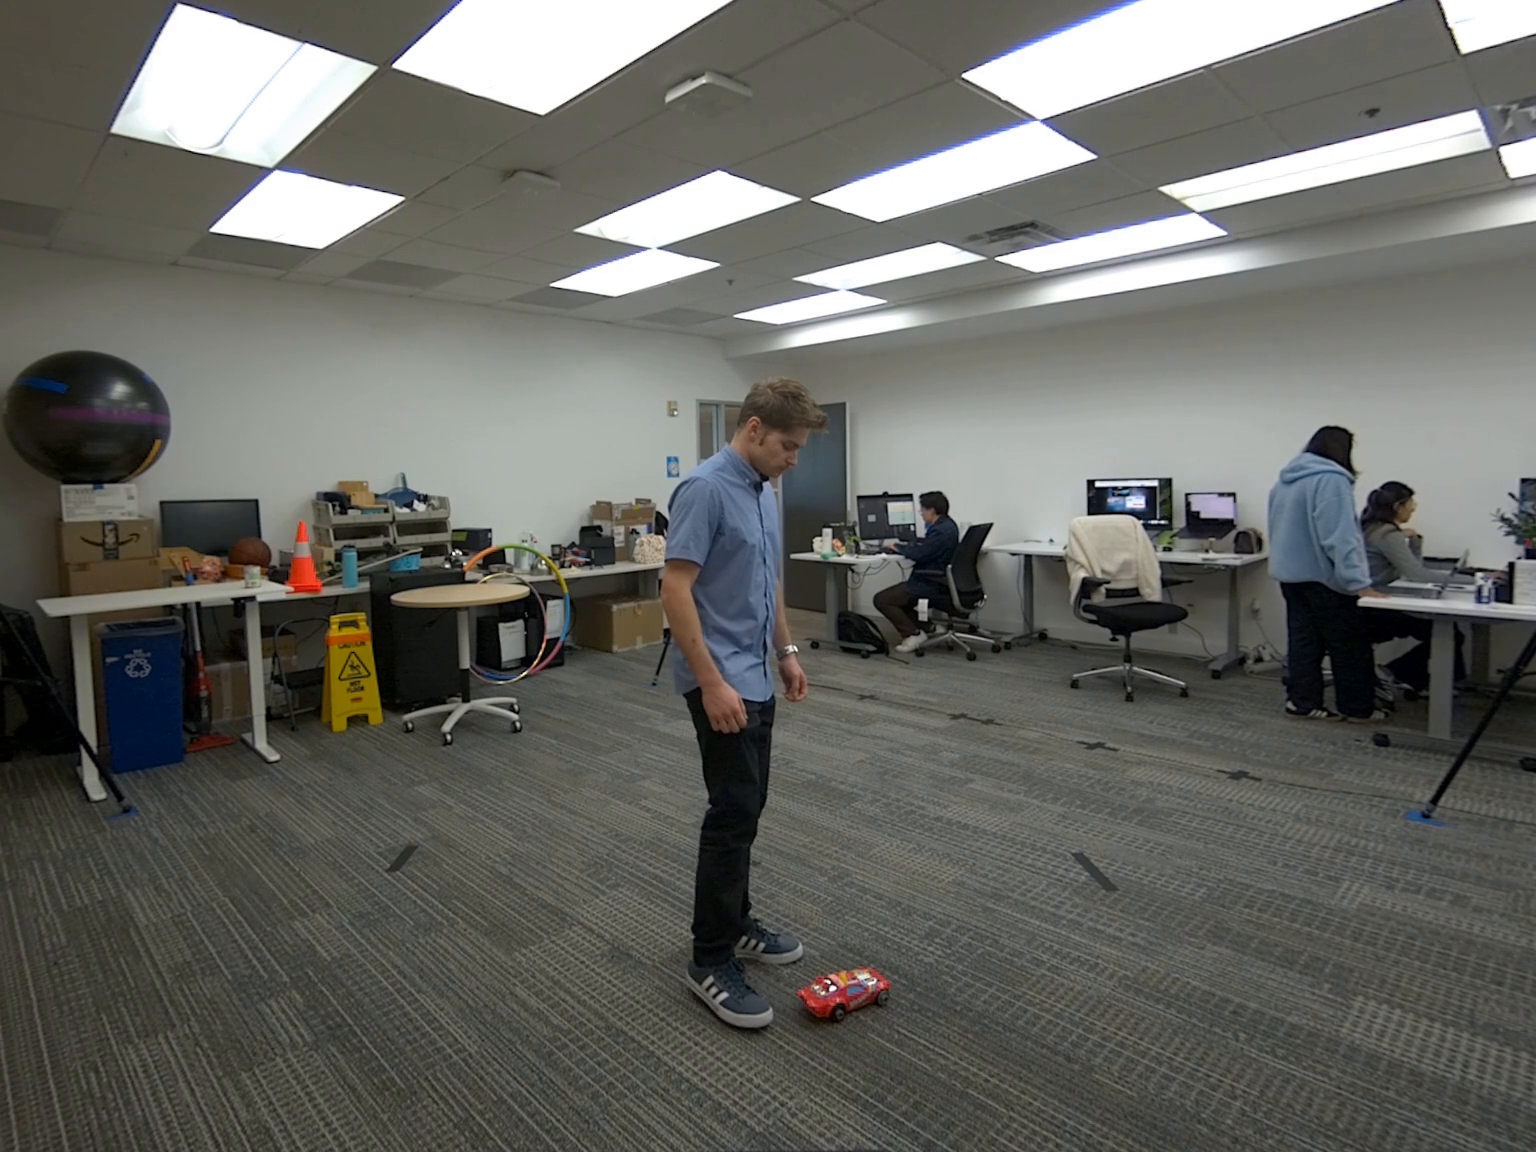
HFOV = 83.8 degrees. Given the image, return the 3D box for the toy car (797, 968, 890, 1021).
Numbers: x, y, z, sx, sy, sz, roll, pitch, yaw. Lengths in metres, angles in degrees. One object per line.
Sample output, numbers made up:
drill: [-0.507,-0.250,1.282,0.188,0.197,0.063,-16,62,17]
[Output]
toy car: [0.208,1.112,2.258,0.248,0.083,0.134,7,2,-29]
